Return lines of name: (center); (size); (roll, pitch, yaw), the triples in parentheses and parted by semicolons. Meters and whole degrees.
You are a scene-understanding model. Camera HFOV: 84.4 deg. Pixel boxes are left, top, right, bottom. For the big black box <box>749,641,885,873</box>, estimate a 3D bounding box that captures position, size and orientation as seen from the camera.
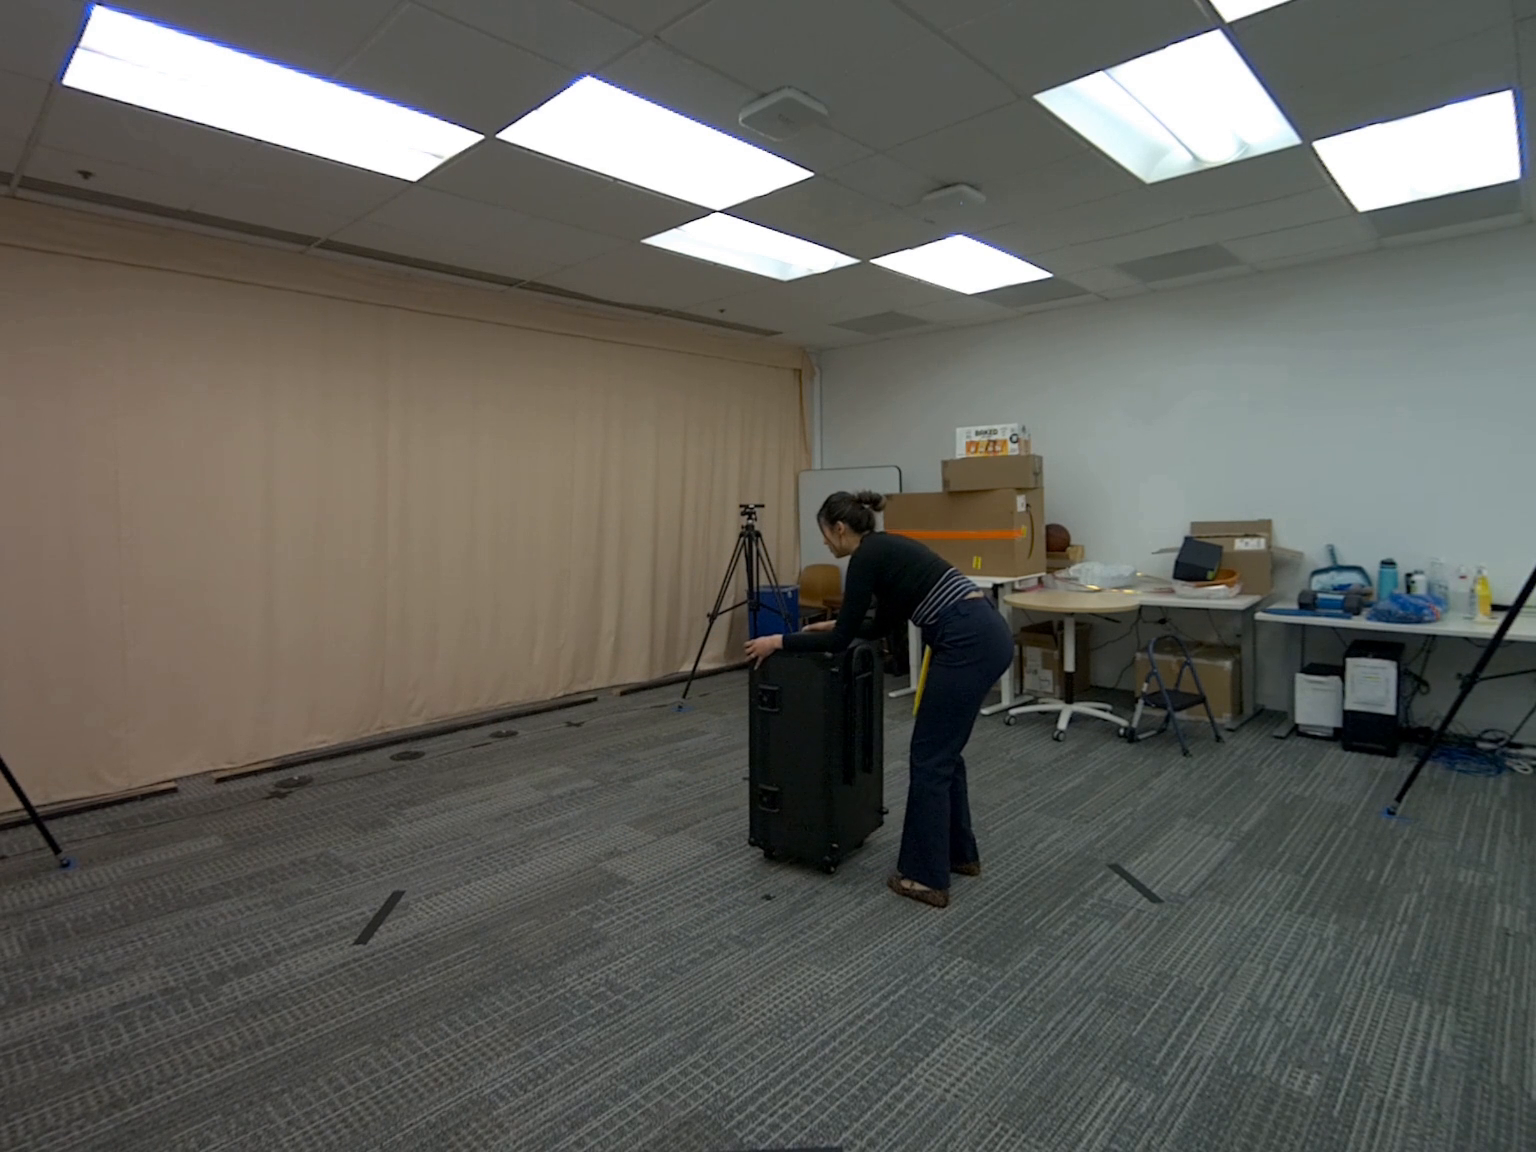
big black box: (0.215, 0.680, 3.345); (0.408, 0.859, 0.507); (4, 5, 33)
